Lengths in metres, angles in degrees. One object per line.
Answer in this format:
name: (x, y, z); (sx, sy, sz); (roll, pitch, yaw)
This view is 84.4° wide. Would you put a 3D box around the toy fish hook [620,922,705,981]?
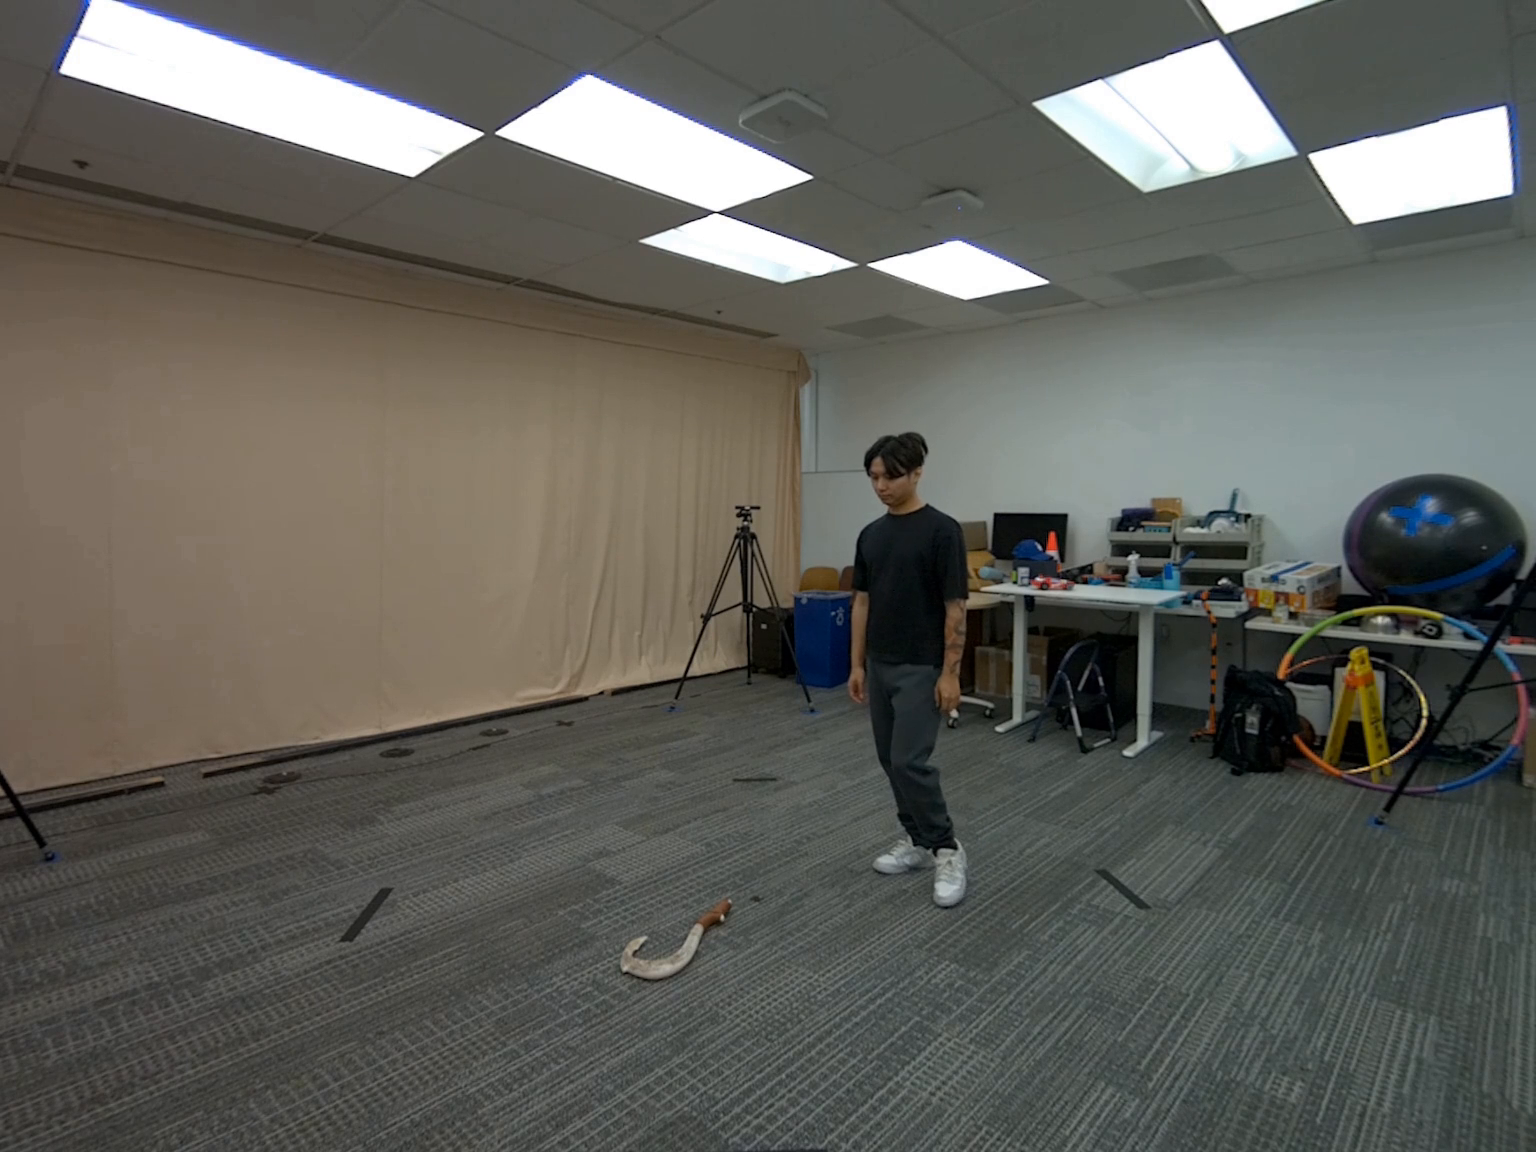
toy fish hook: (-0.288, 1.146, 2.701); (0.231, 0.048, 0.494); (3, 5, 26)
